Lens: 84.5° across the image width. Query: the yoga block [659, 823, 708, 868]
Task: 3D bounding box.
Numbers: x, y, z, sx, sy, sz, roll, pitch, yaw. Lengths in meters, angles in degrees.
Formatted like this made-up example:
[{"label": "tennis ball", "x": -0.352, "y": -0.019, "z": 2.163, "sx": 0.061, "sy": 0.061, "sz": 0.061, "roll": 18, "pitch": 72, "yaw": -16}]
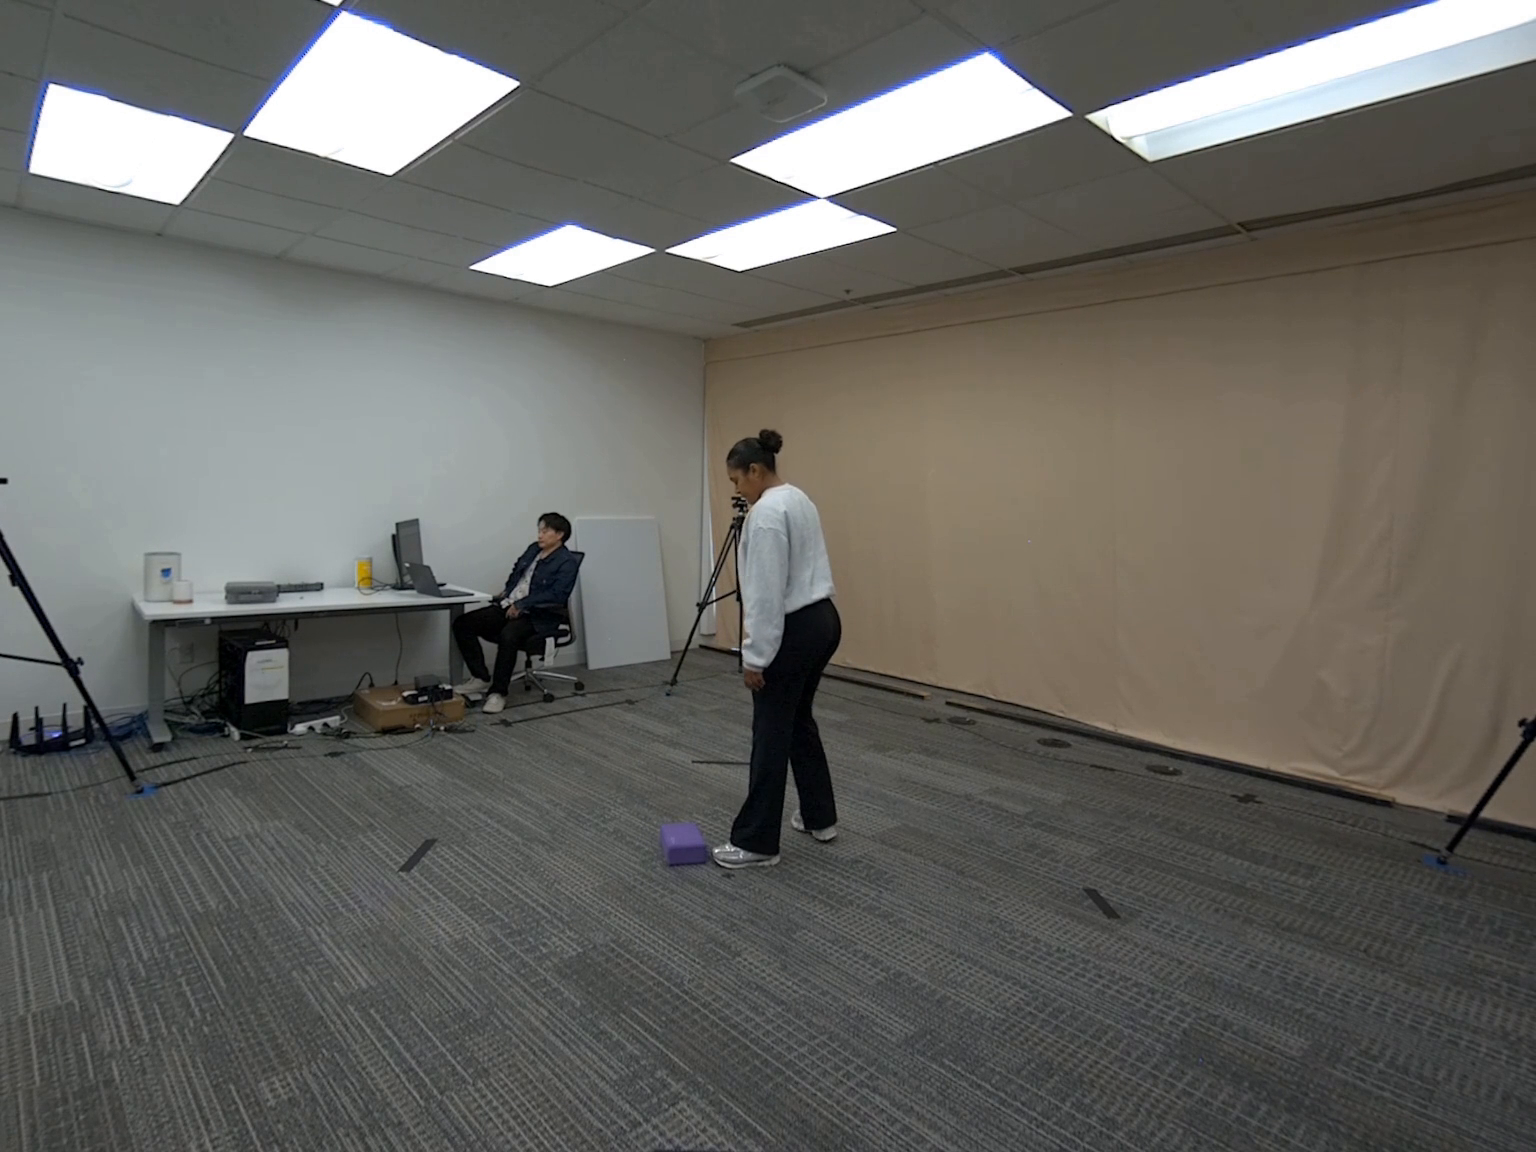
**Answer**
[{"label": "yoga block", "x": -0.335, "y": 1.040, "z": 3.290, "sx": 0.147, "sy": 0.076, "sz": 0.233, "roll": 1, "pitch": 6, "yaw": -16}]
